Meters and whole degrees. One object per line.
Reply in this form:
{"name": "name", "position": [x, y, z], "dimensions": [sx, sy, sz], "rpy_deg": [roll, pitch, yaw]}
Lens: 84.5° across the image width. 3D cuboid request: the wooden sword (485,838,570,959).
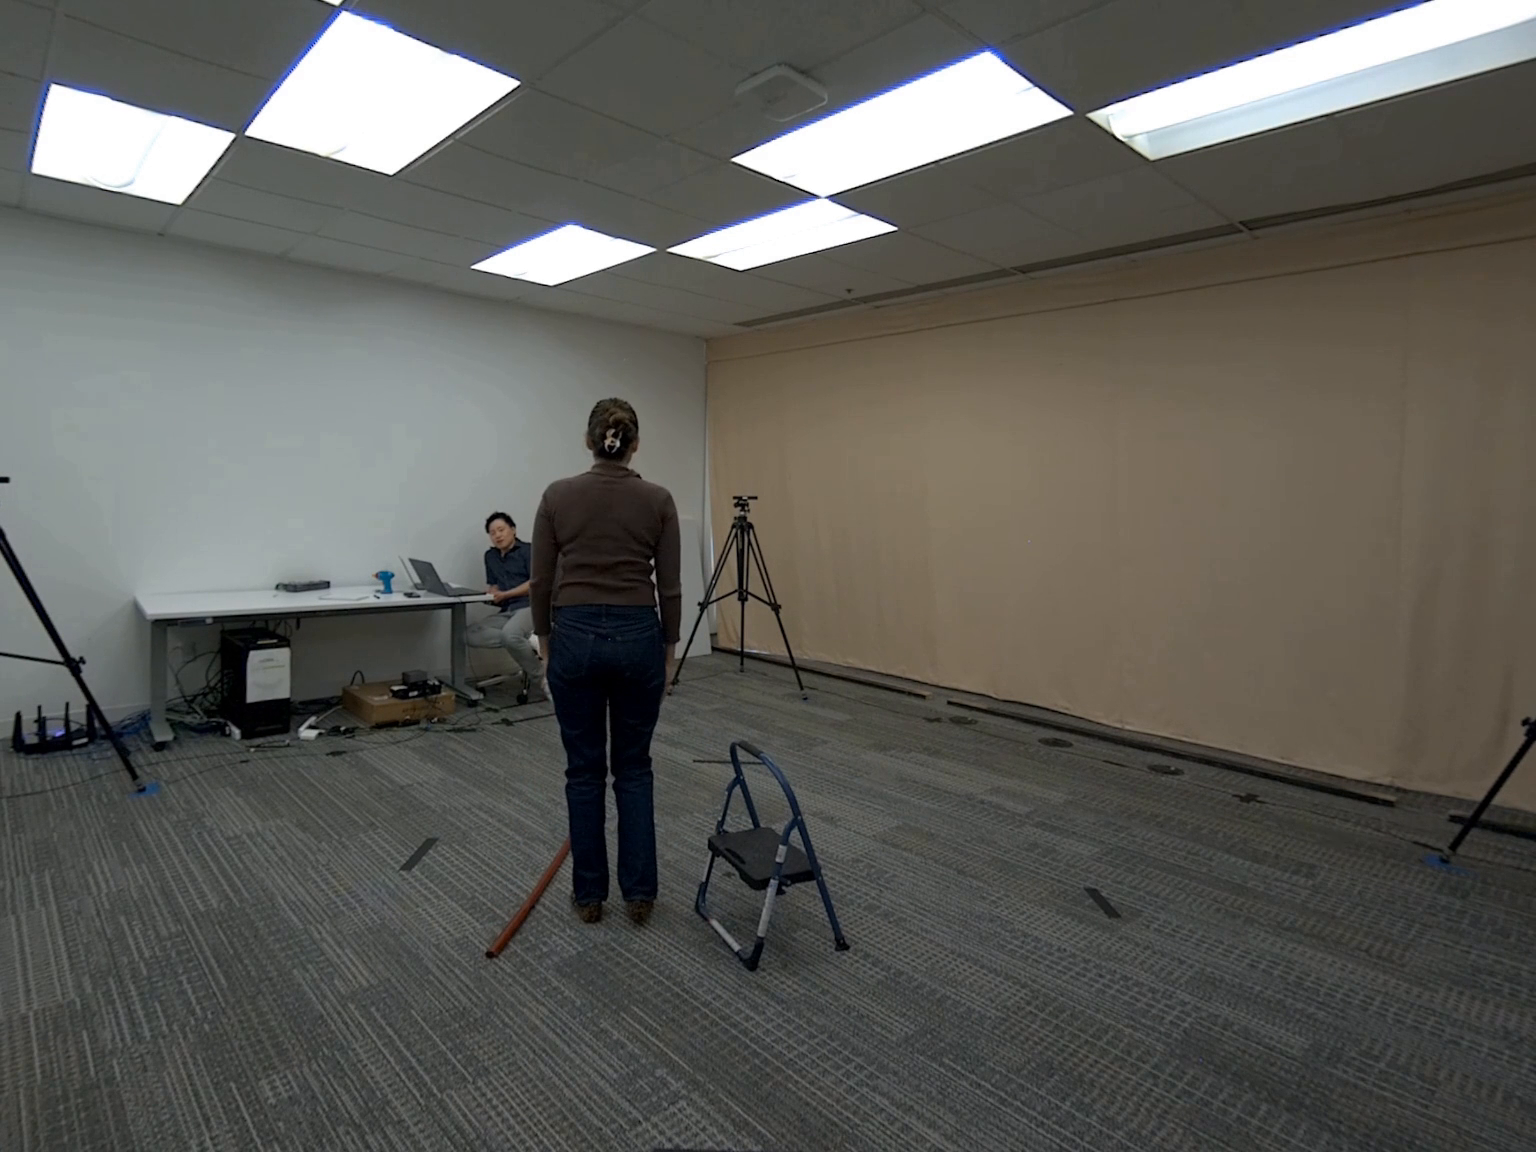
{"name": "wooden sword", "position": [-0.782, 1.066, 3.011], "dimensions": [0.024, 0.051, 1.024], "rpy_deg": [19, 7, 1]}
